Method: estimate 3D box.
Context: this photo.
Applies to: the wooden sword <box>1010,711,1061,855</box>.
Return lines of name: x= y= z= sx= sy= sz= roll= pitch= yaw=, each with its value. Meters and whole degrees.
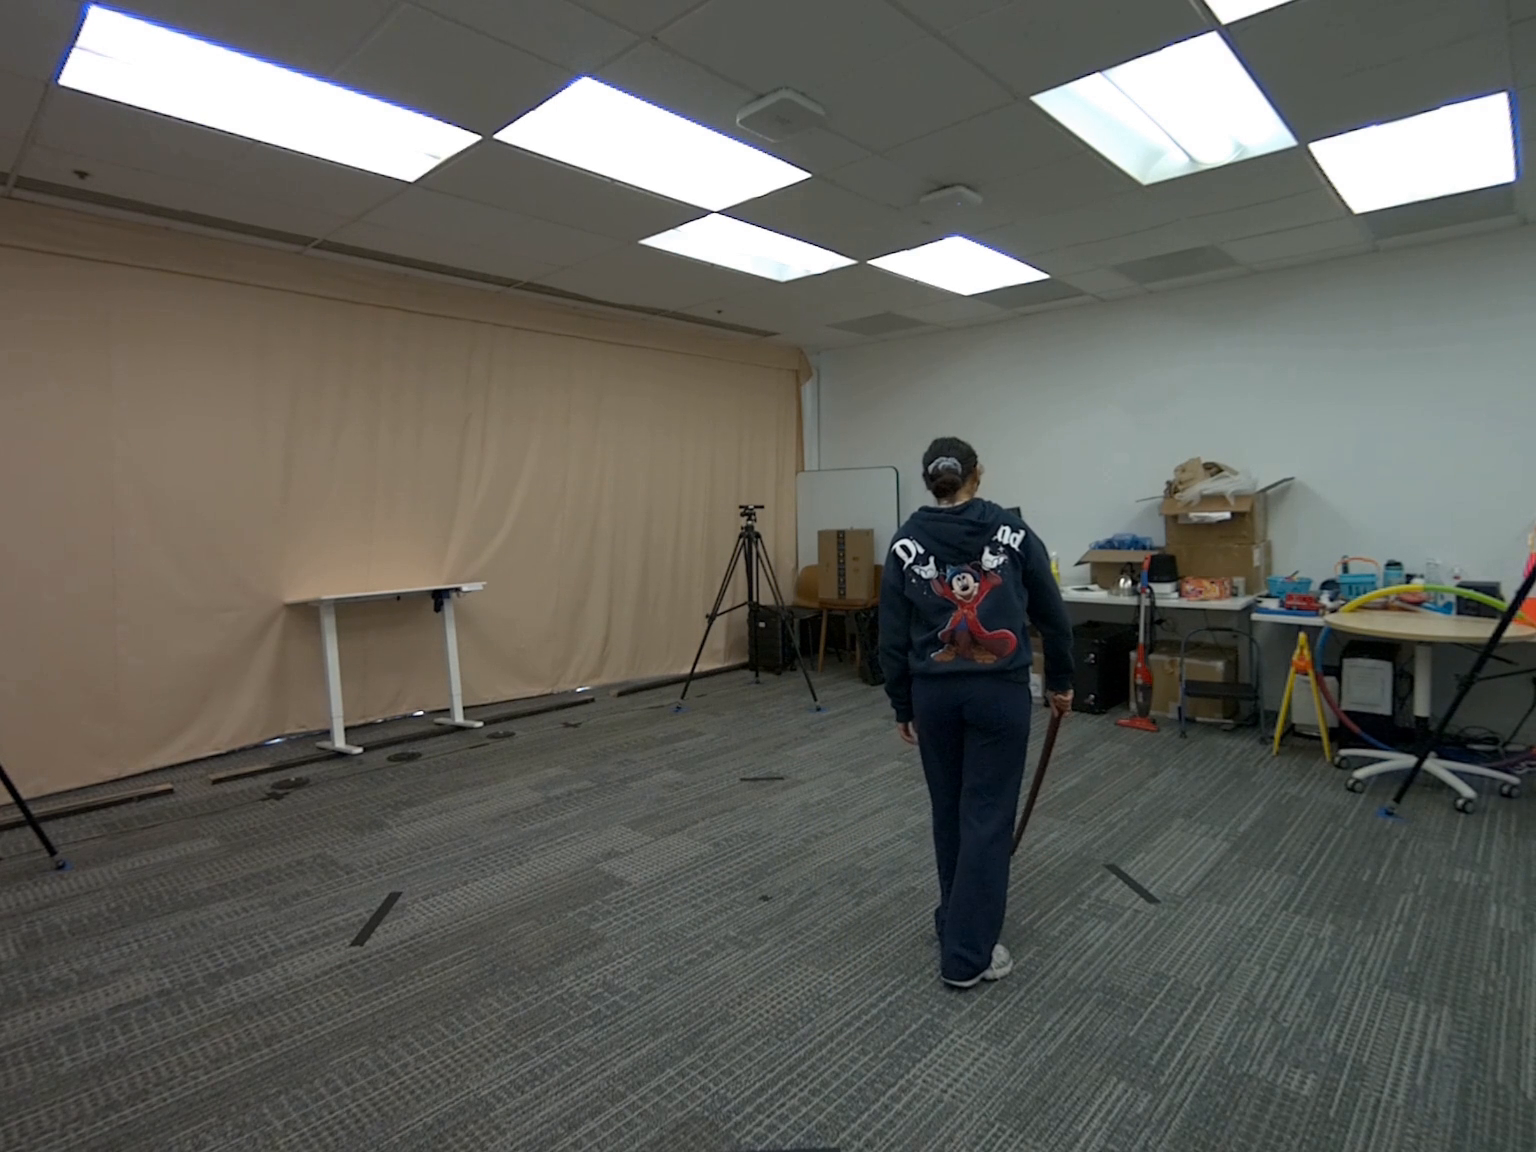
wooden sword: x=0.957 y=0.751 z=2.967 sx=0.024 sy=1.005 sz=0.053 roll=-13 pitch=46 yaw=-13
